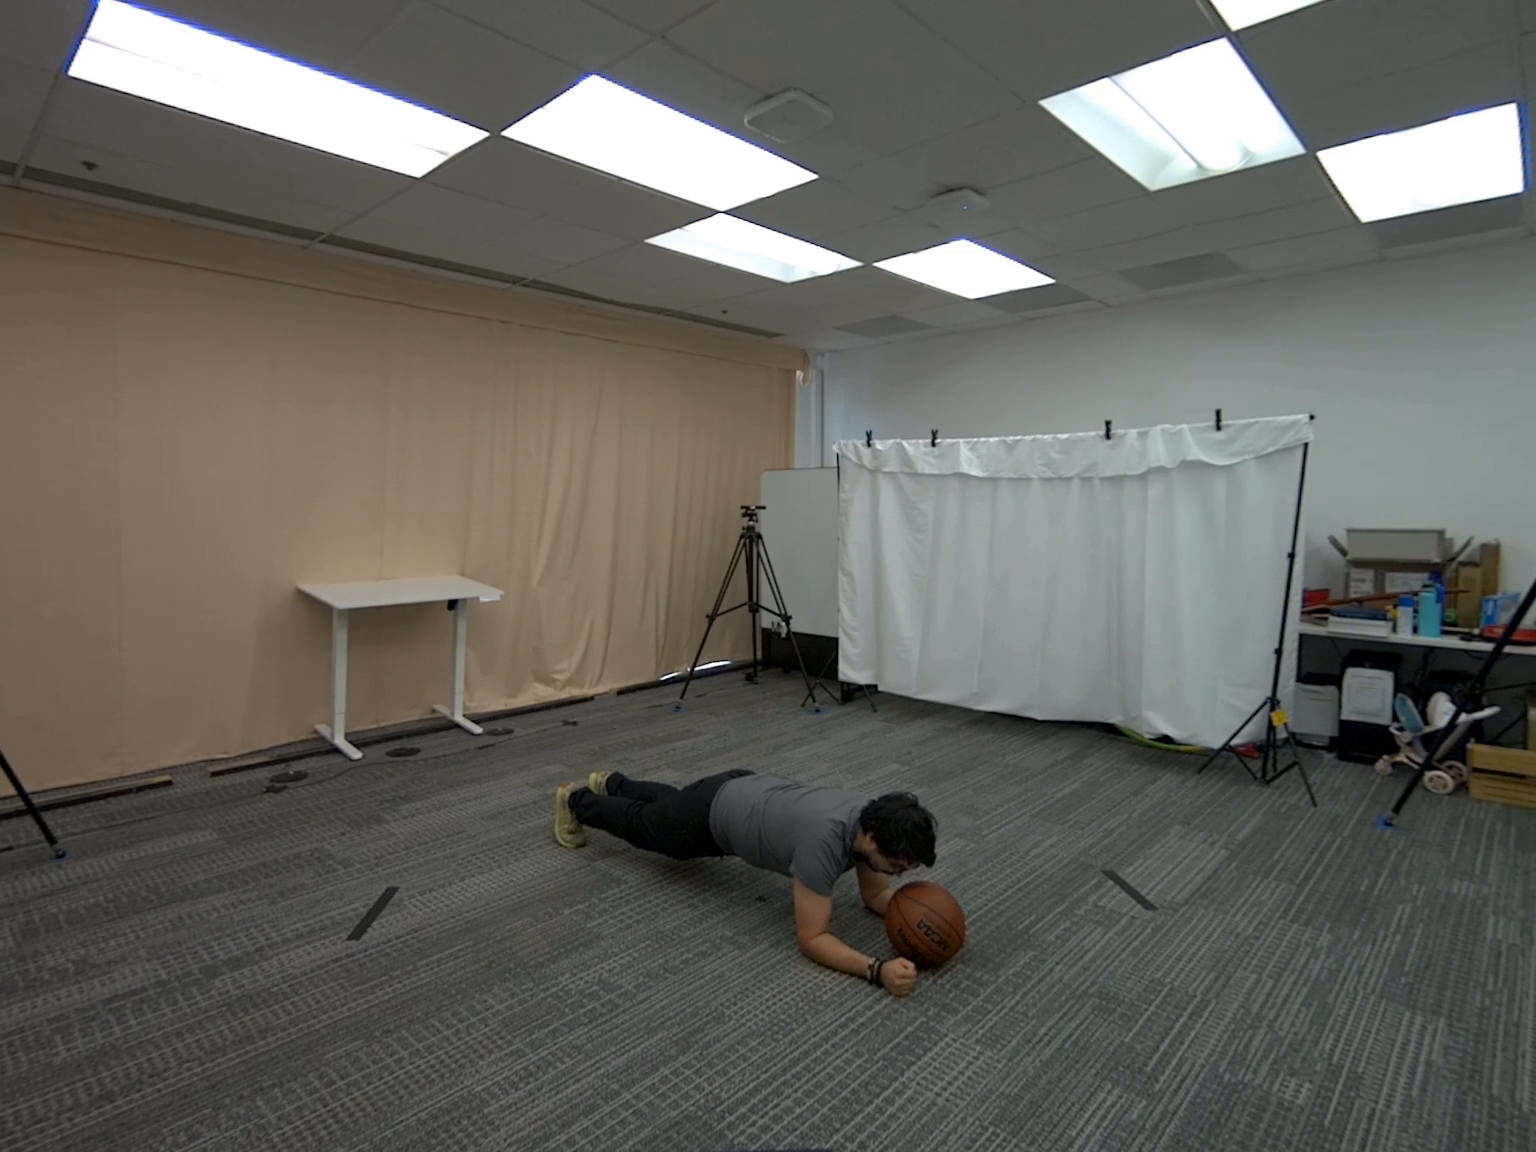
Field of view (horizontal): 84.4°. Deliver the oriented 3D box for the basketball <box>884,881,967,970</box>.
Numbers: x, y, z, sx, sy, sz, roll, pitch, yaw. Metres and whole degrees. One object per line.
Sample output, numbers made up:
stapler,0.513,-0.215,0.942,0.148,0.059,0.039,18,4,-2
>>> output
basketball,0.486,1.057,2.566,0.236,0.235,0.237,0,4,-2
